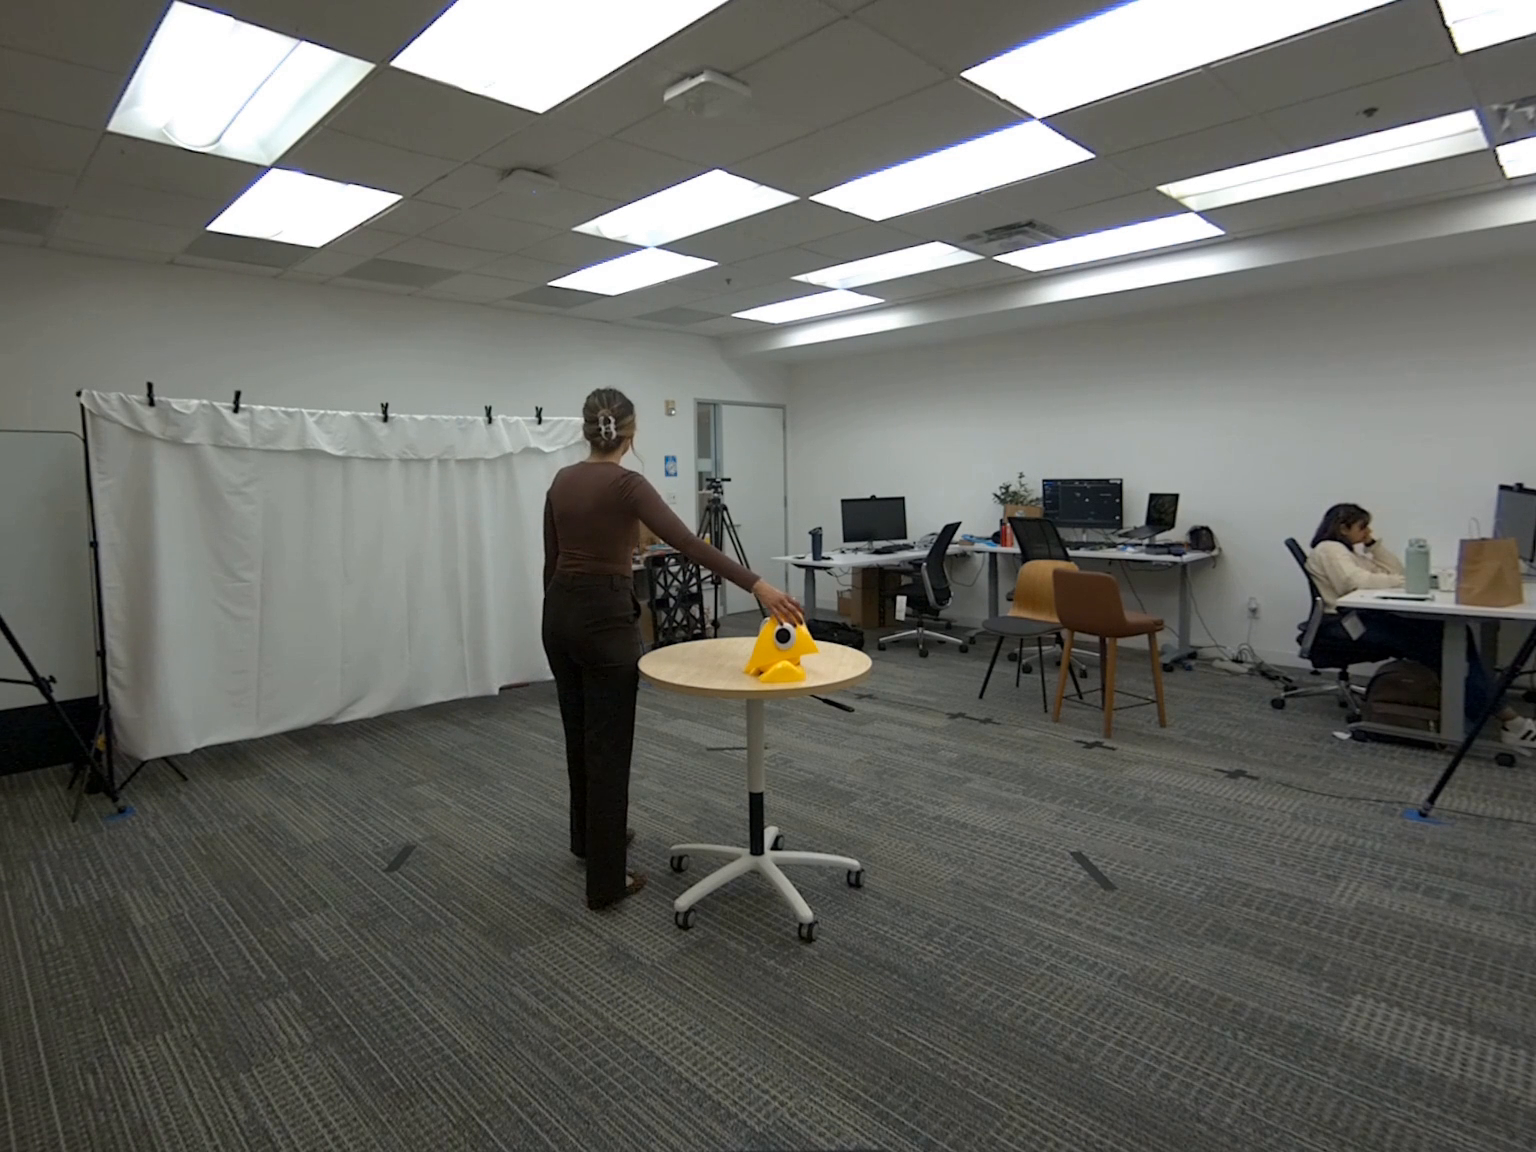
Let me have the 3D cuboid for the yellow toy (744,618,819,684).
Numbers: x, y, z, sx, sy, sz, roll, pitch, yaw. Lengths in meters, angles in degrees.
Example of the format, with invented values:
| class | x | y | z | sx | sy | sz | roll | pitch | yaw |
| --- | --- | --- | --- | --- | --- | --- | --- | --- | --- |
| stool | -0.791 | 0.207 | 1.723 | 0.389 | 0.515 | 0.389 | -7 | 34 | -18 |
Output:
| class | x | y | z | sx | sy | sz | roll | pitch | yaw |
| --- | --- | --- | --- | --- | --- | --- | --- | --- | --- |
| yellow toy | 0.032 | 0.189 | 2.616 | 0.189 | 0.229 | 0.210 | -3 | 6 | -24 |
